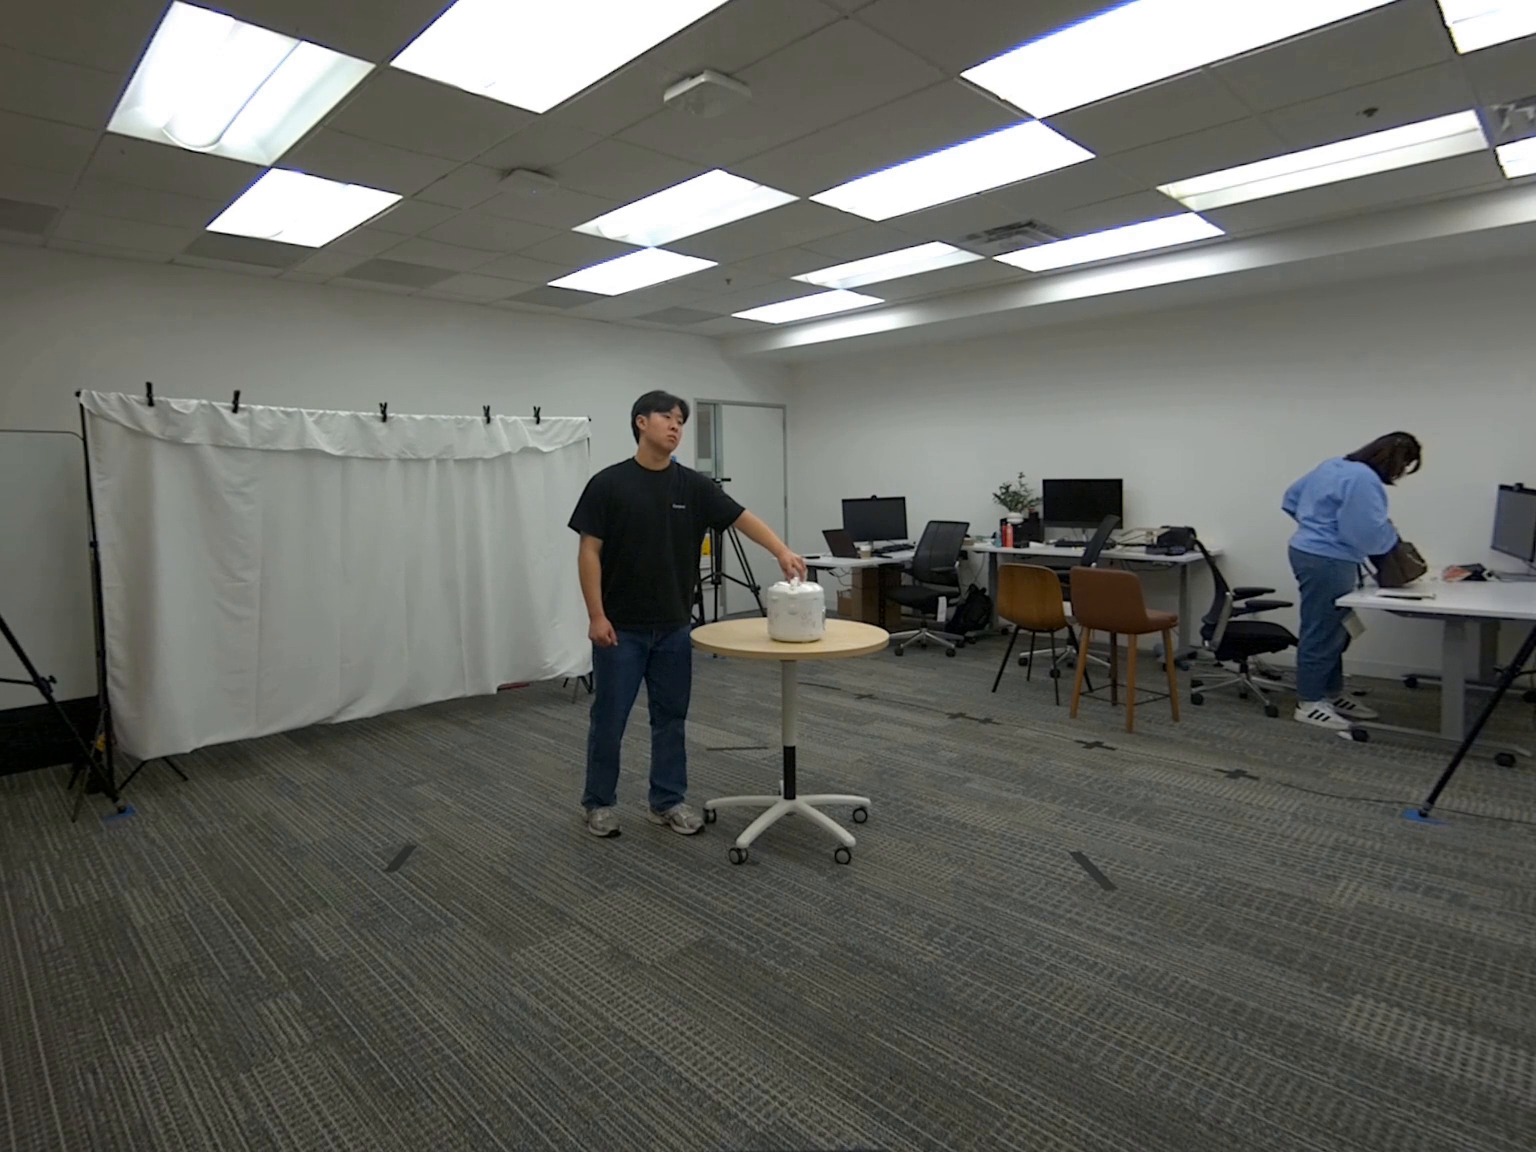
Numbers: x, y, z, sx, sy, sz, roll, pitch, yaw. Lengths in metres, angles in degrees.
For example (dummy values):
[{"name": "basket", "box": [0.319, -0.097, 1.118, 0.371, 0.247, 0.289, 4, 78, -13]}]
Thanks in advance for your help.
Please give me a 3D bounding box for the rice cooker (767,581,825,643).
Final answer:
[{"name": "rice cooker", "box": [0.108, 0.119, 3.176, 0.220, 0.232, 0.219, 0, 5, 11]}]
